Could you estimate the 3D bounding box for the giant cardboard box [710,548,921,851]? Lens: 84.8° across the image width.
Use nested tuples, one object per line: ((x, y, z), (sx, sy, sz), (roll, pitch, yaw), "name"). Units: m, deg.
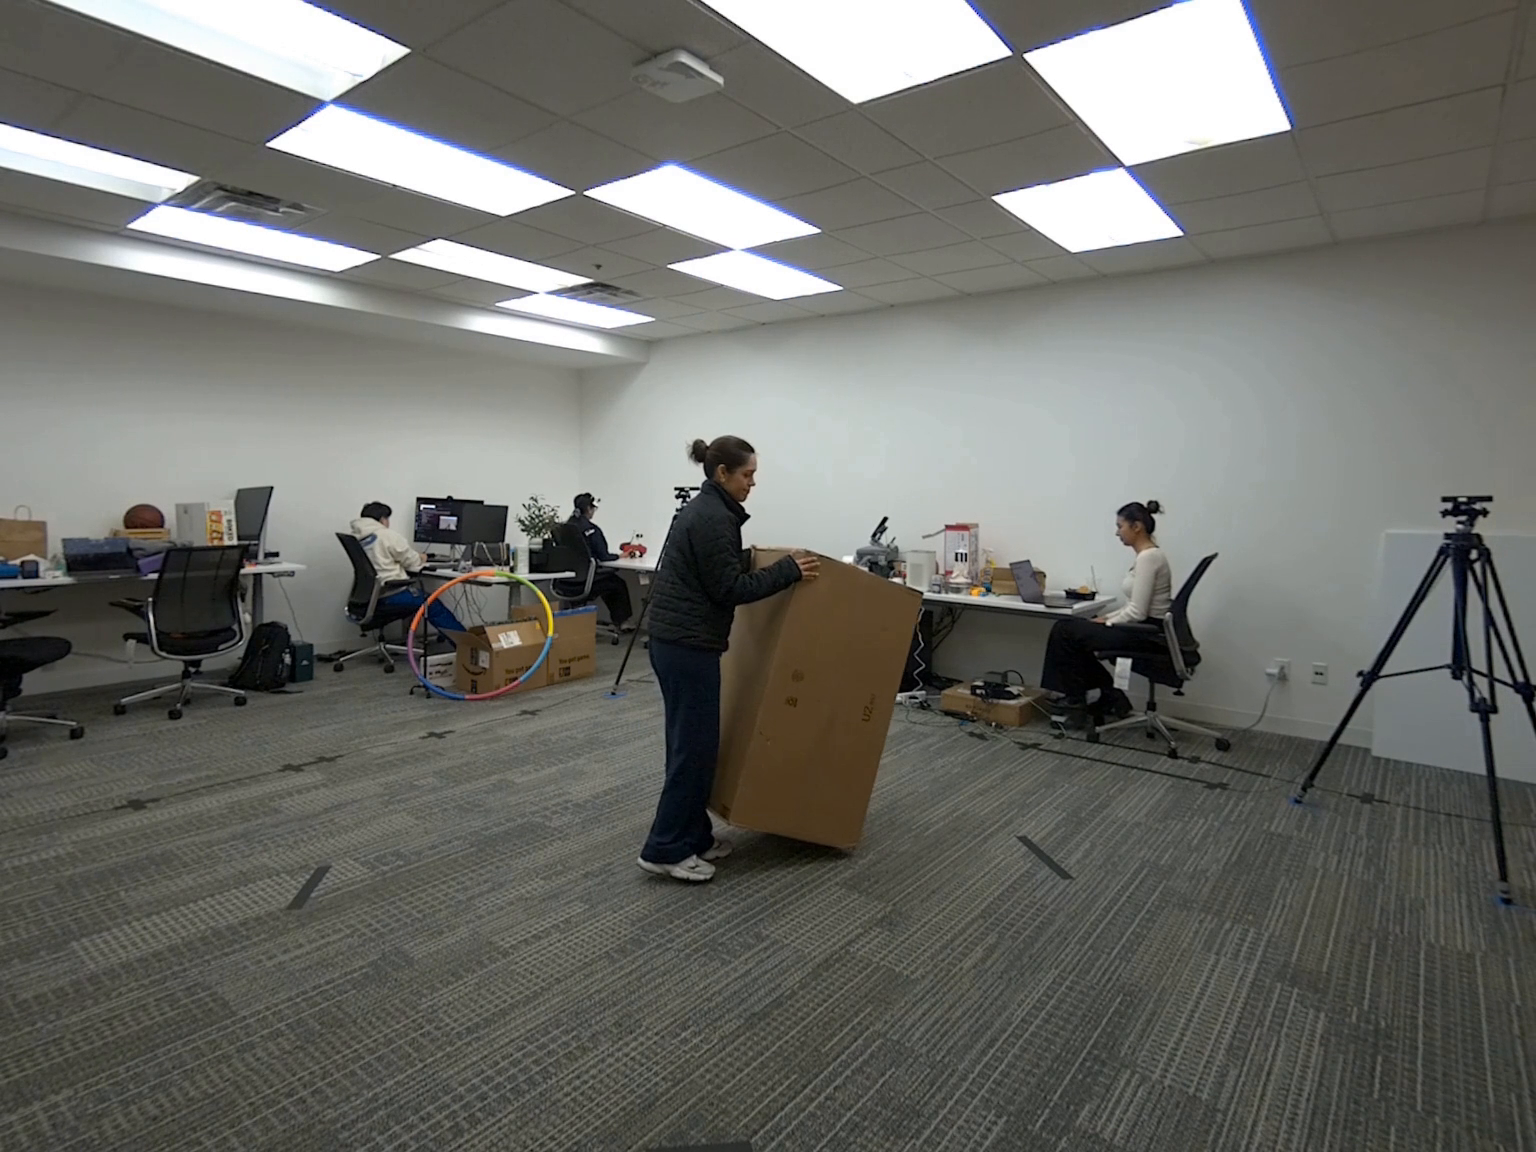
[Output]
((0.155, 0.458, 3.367), (0.561, 1.029, 0.437), (18, -6, -25), "giant cardboard box")
